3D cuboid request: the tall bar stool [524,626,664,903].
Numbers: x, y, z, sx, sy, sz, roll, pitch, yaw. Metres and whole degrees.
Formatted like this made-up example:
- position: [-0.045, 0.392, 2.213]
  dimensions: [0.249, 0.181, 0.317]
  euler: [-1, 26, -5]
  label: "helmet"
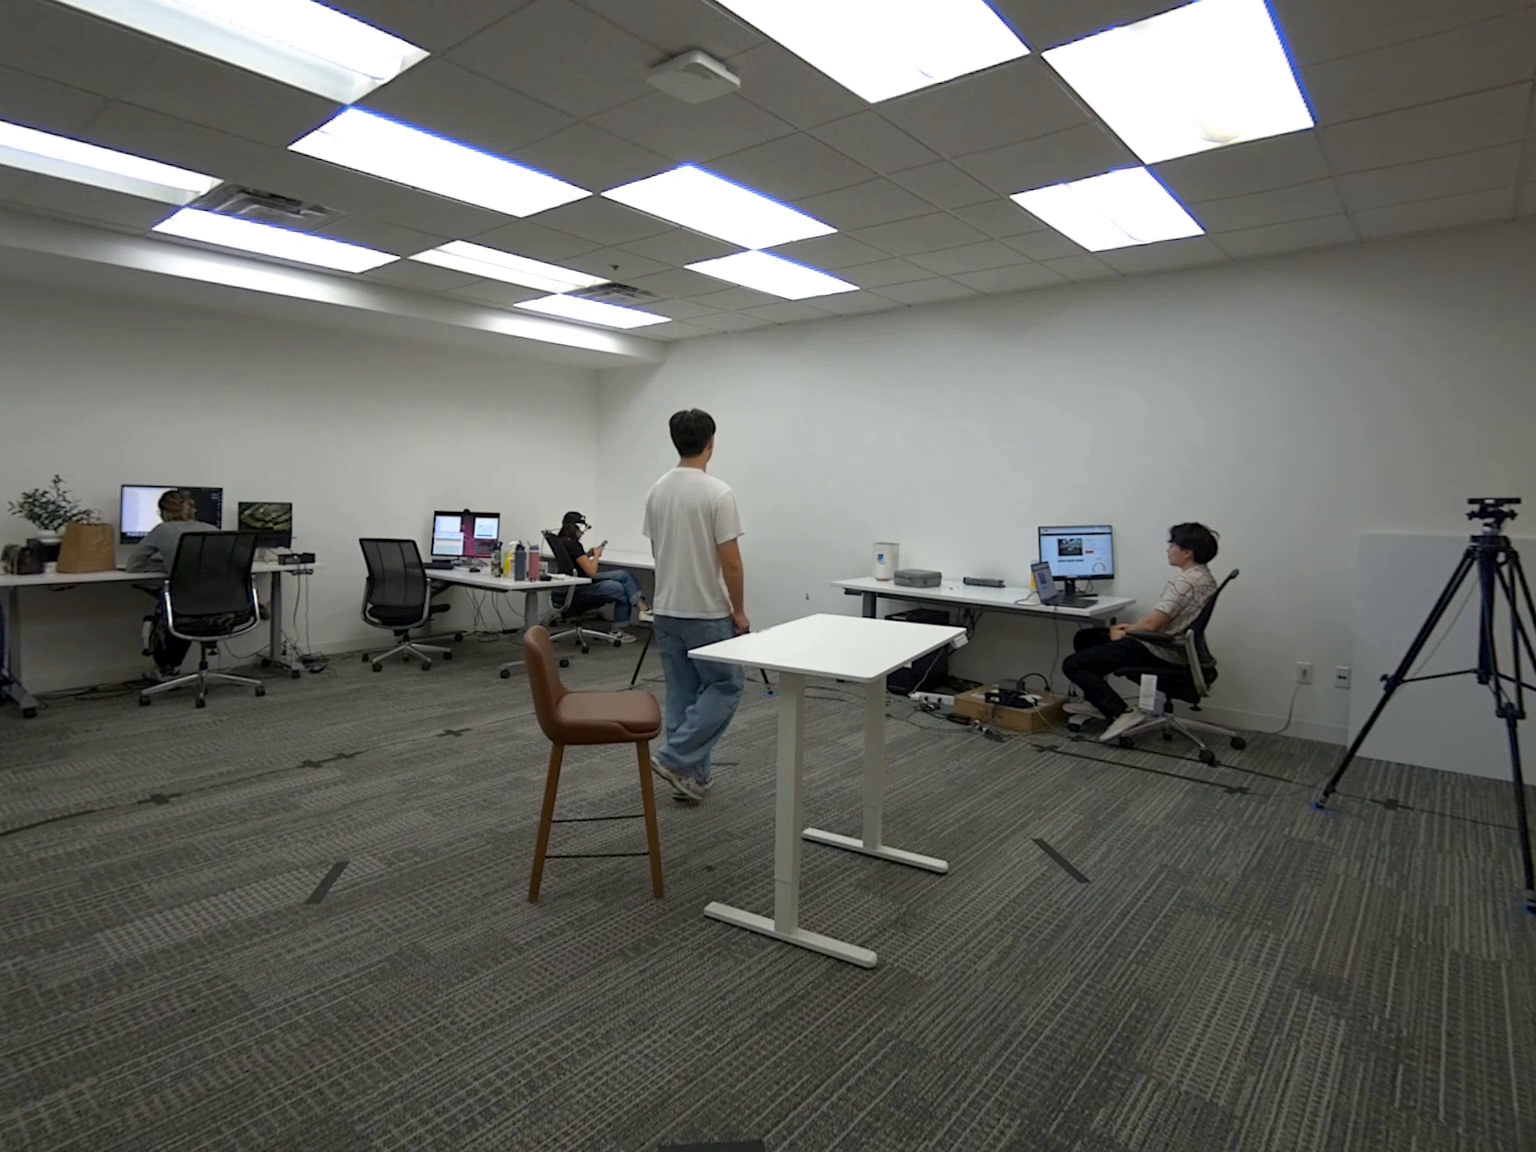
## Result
- position: [-0.623, 0.634, 3.022]
  dimensions: [0.463, 0.887, 0.462]
  euler: [-1, 3, -10]
  label: "tall bar stool"
